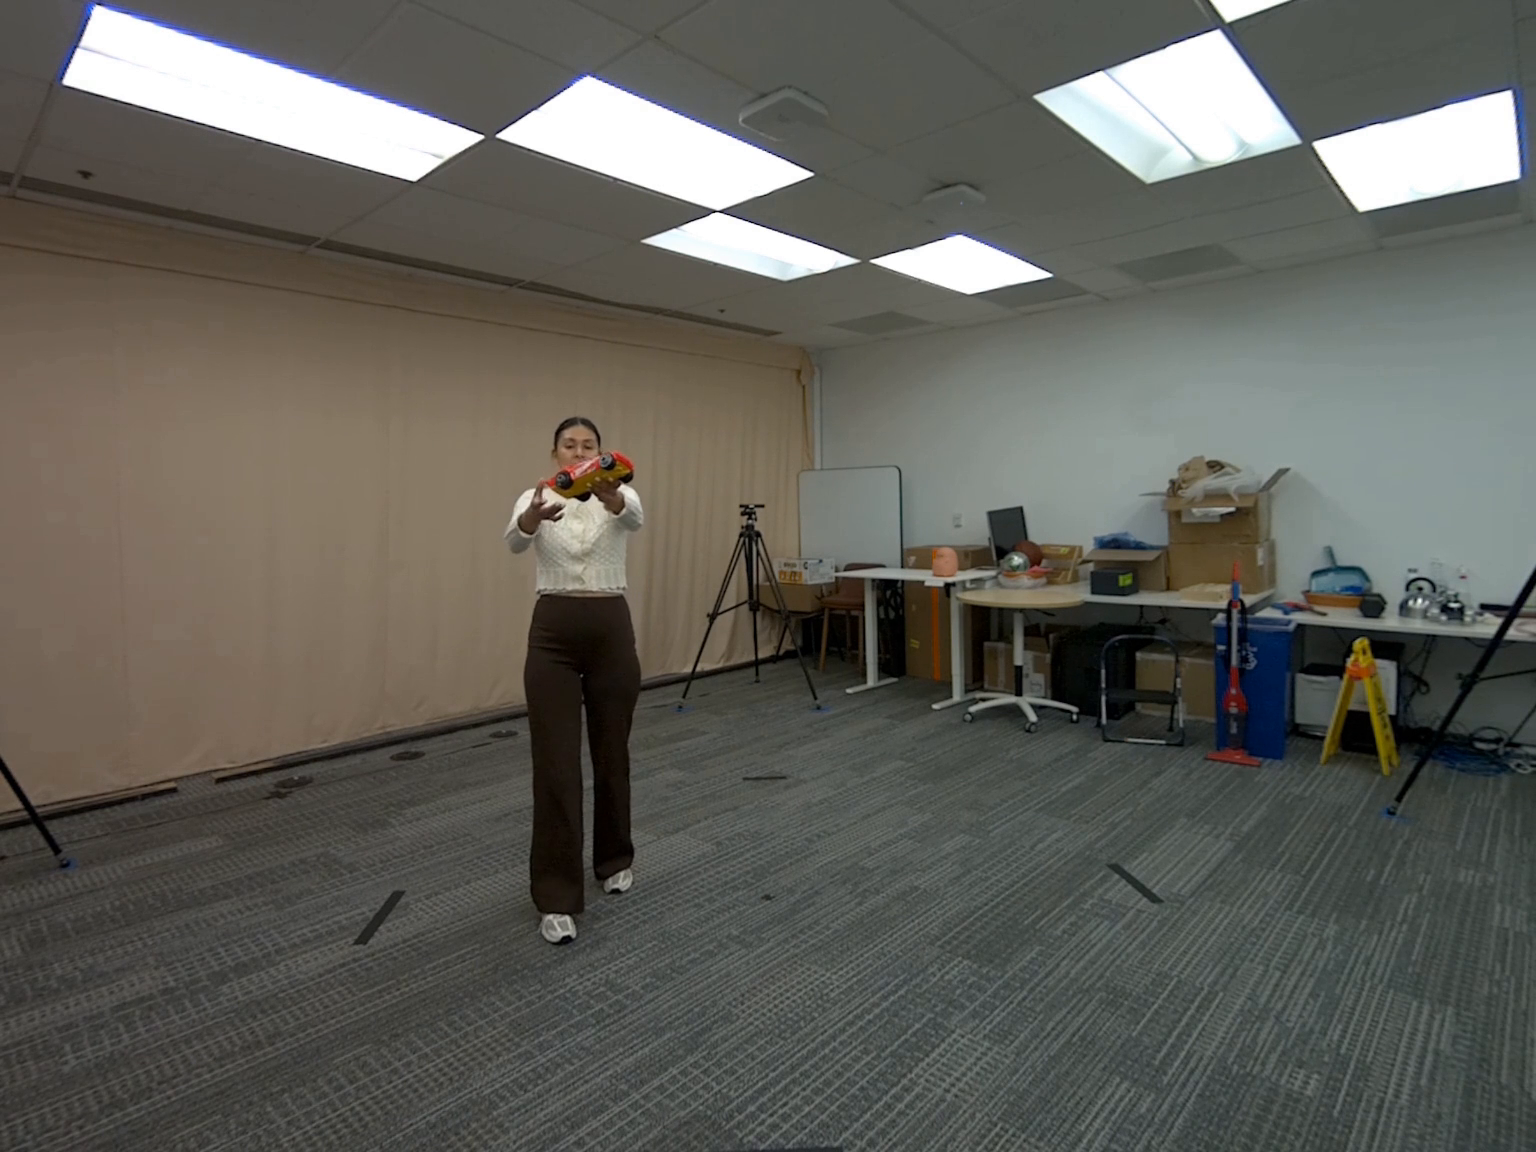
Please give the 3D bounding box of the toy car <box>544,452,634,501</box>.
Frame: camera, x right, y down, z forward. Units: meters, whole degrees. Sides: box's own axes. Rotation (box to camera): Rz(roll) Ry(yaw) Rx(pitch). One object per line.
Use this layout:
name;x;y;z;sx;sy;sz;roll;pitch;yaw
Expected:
toy car;-0.515;-0.274;2.349;0.260;0.084;0.126;-9;-22;27
